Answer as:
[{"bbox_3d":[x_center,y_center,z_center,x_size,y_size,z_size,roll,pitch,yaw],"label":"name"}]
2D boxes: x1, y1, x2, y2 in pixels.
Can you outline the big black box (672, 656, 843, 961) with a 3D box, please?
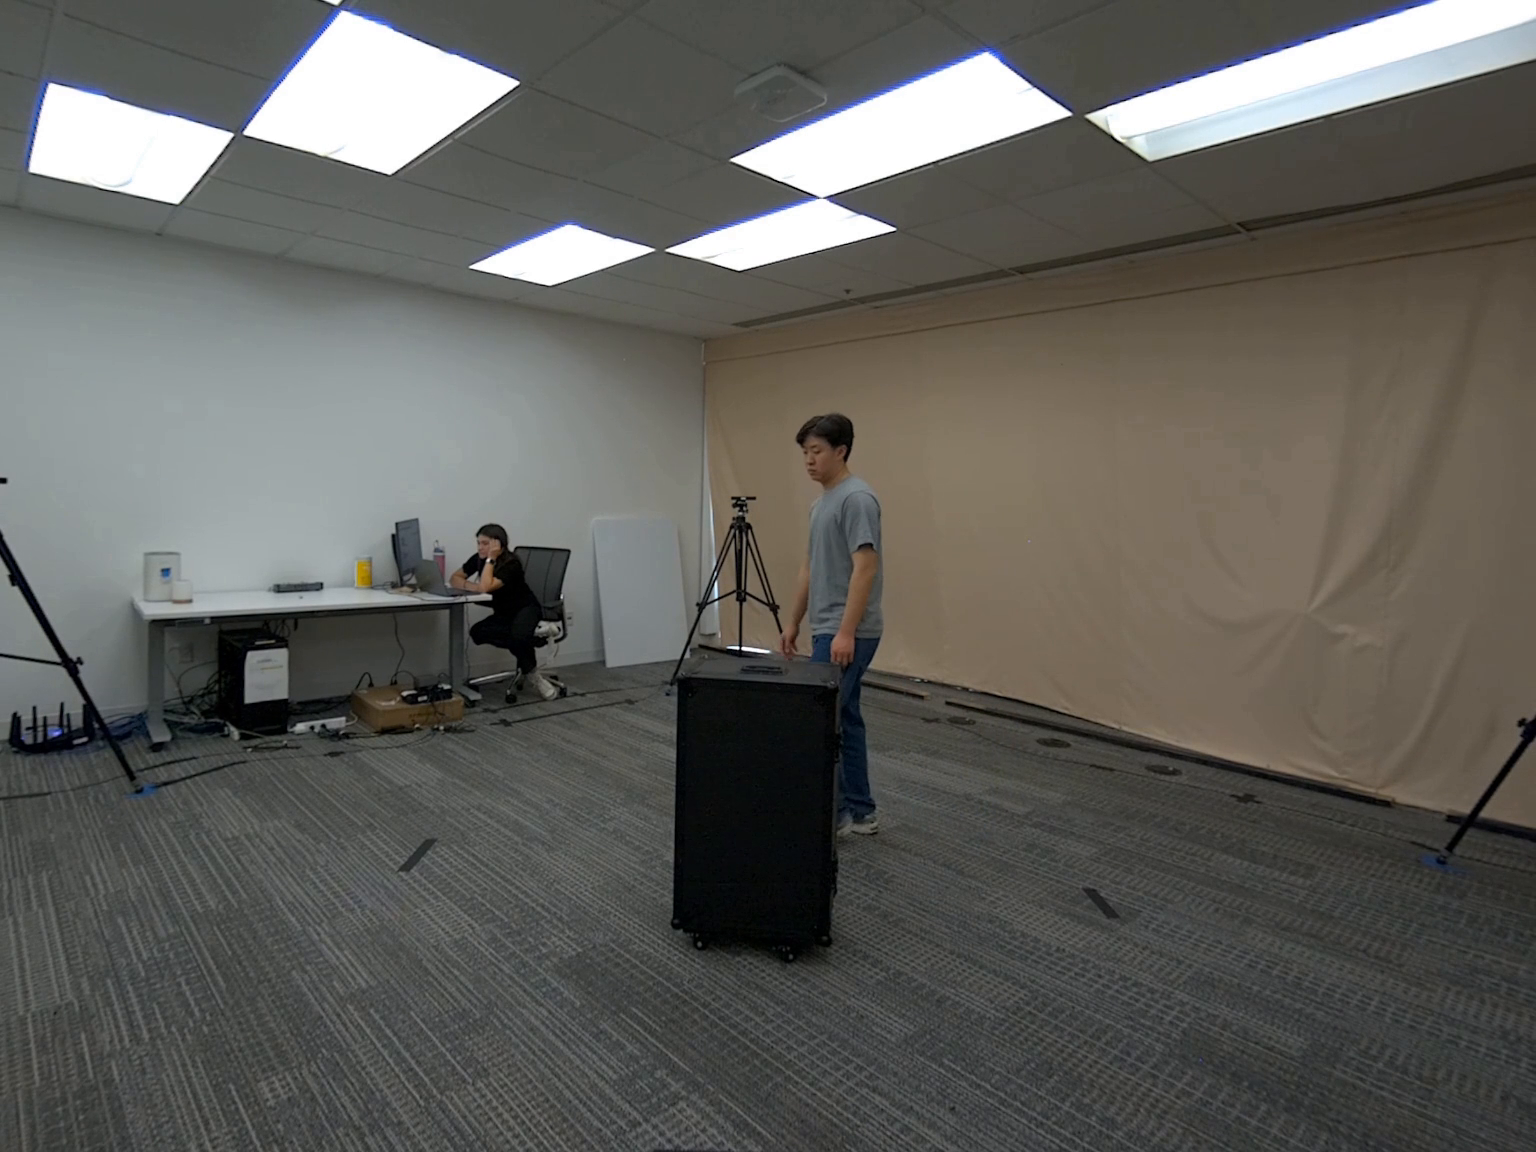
[{"bbox_3d":[-0.035,0.720,2.694,0.526,0.860,0.393,2,2,11],"label":"big black box"}]
